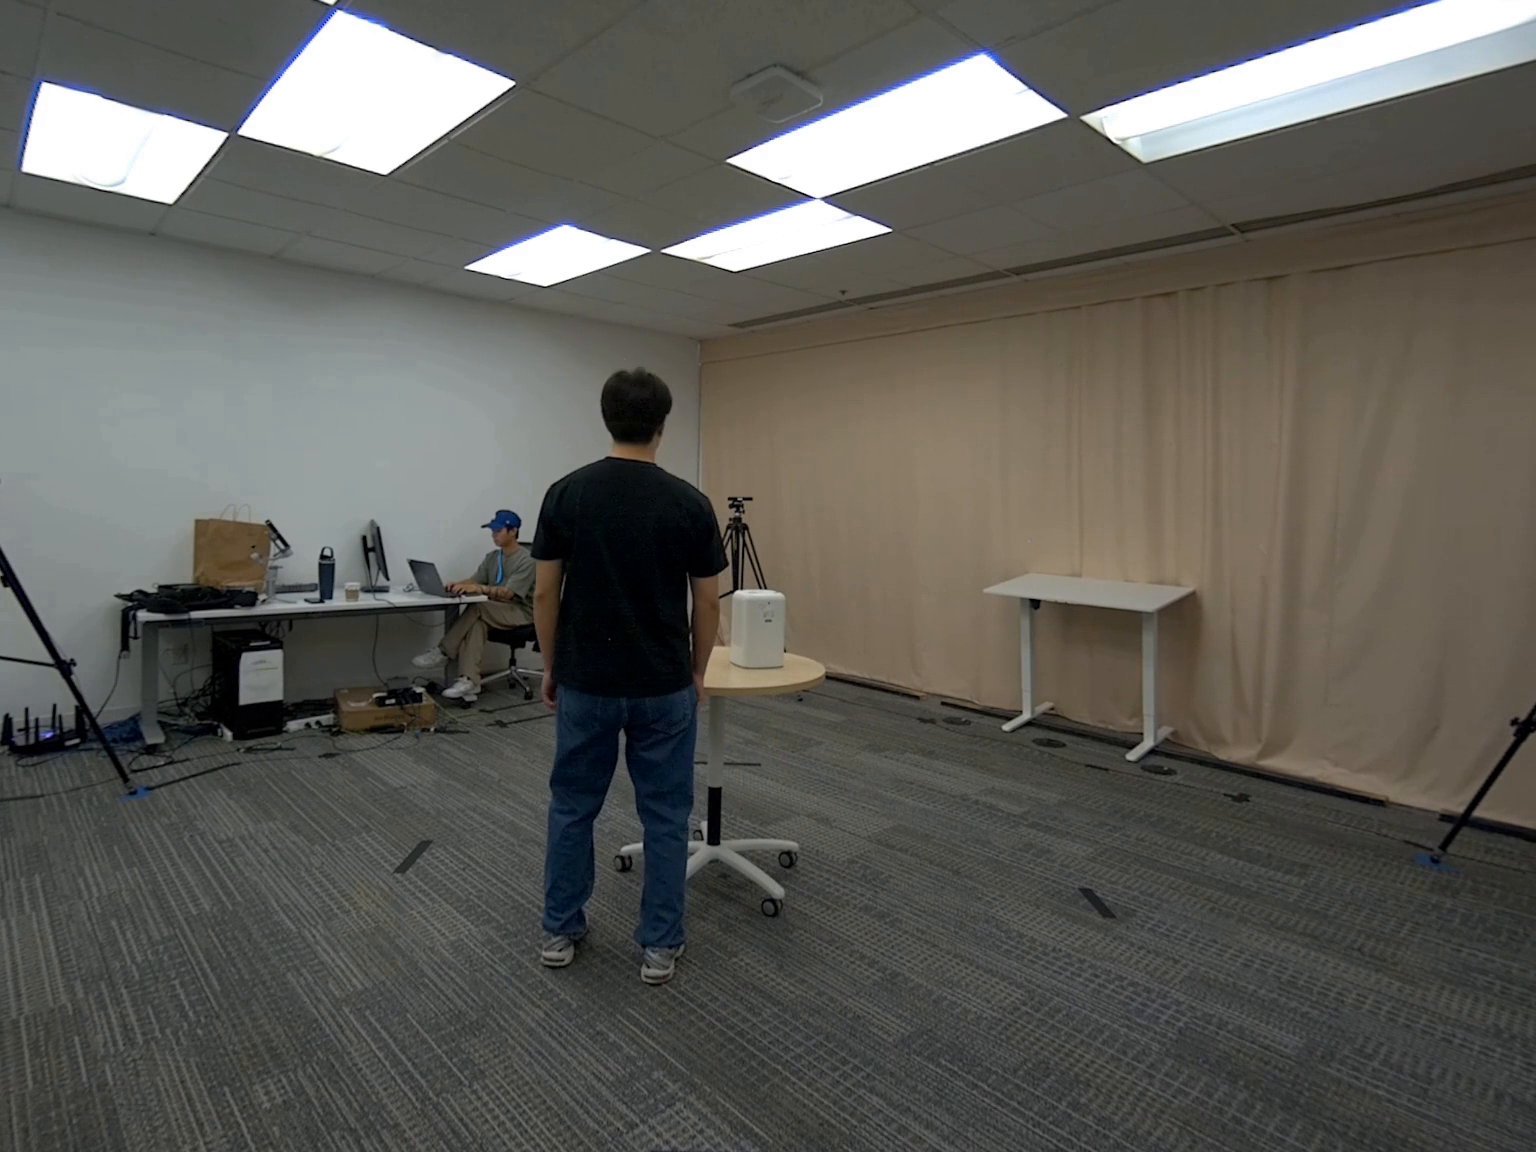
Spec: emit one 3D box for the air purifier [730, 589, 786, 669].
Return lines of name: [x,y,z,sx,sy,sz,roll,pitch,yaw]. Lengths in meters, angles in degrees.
air purifier: [-0.045,0.187,3.039,0.168,0.264,0.175,0,5,-24]
